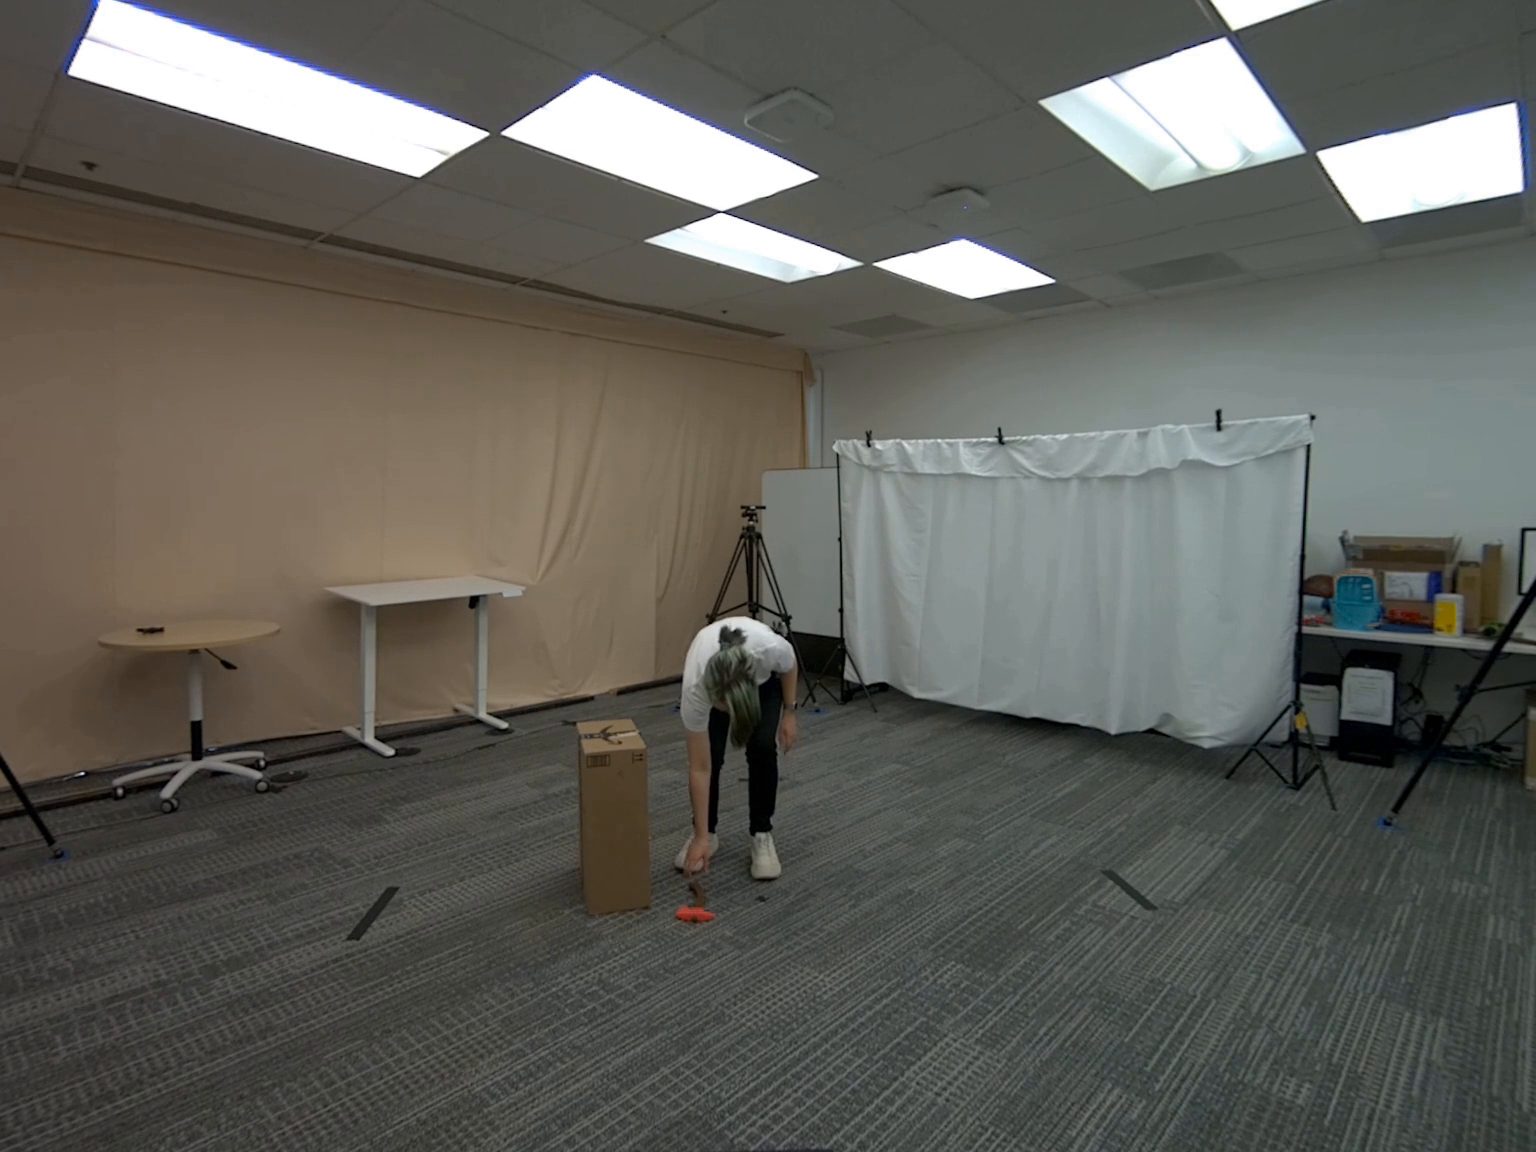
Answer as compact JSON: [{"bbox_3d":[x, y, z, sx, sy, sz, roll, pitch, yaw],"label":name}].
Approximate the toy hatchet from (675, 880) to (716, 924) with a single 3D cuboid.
[{"bbox_3d":[-0.274,1.132,2.936,0.129,0.029,0.275,-3,4,-16],"label":"toy hatchet"}]
